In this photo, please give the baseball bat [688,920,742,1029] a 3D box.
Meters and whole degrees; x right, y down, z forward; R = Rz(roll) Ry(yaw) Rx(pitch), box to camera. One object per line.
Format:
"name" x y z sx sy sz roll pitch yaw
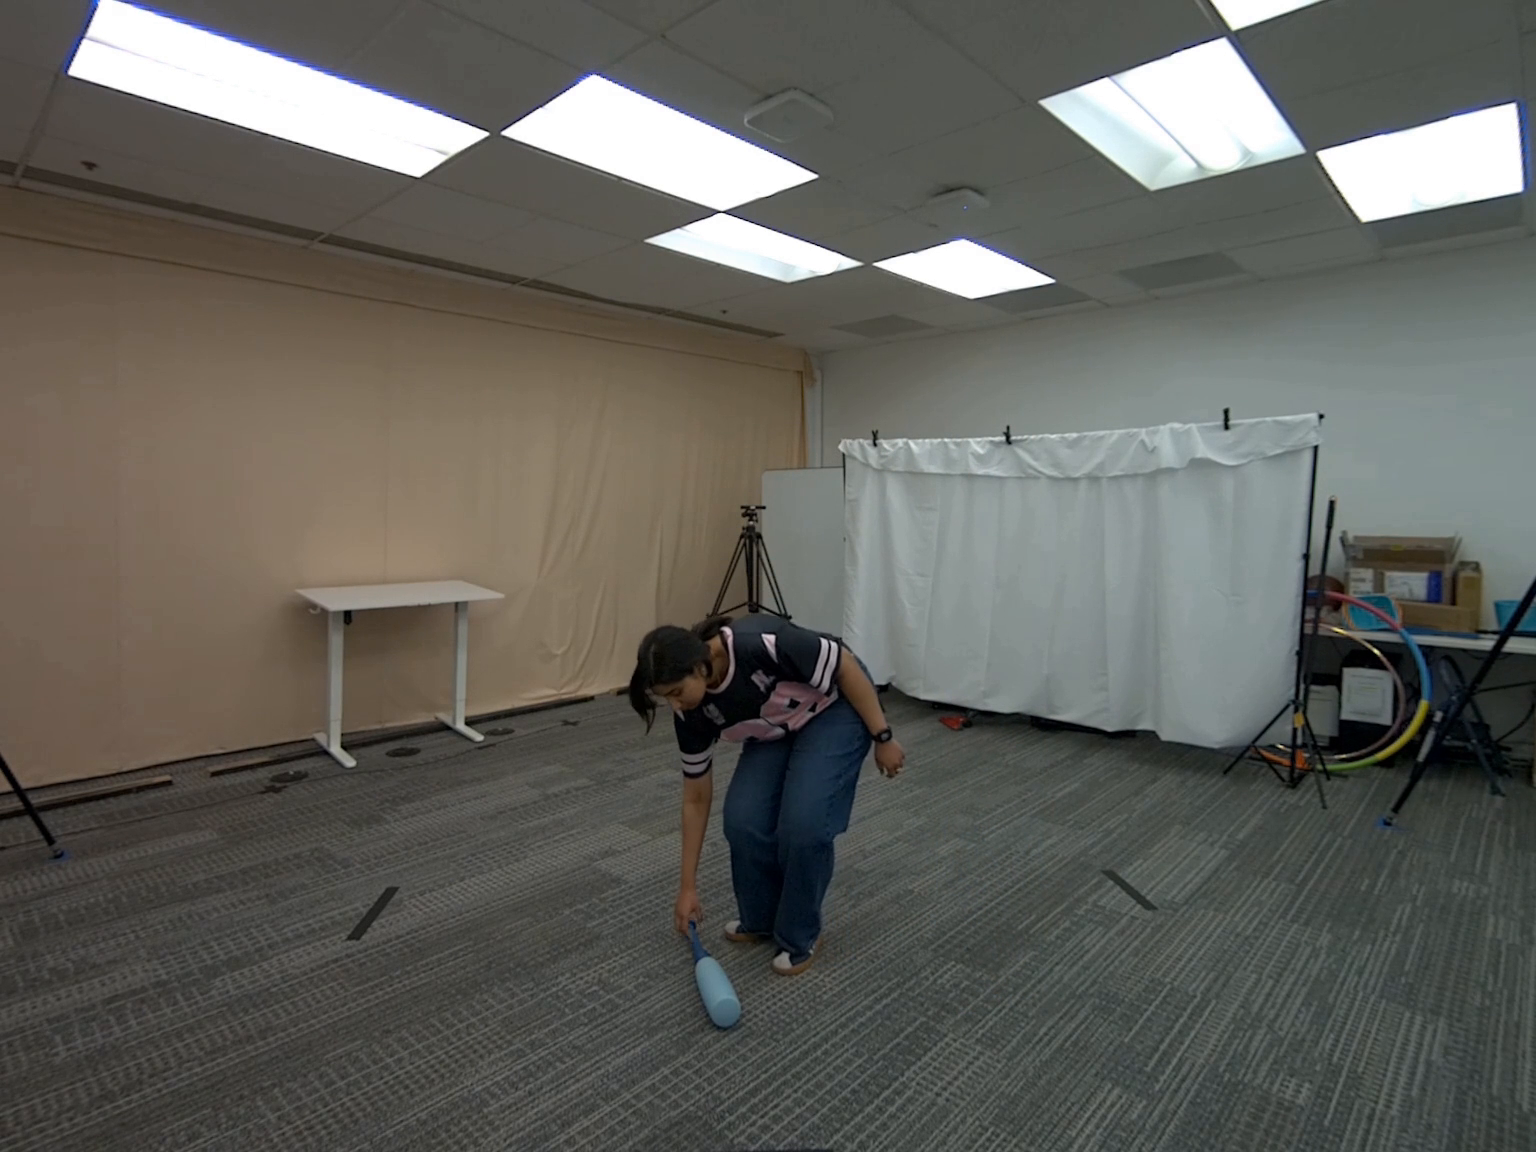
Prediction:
"baseball bat" -0.180 1.150 2.479 0.088 0.089 0.551 -1 2 -16
